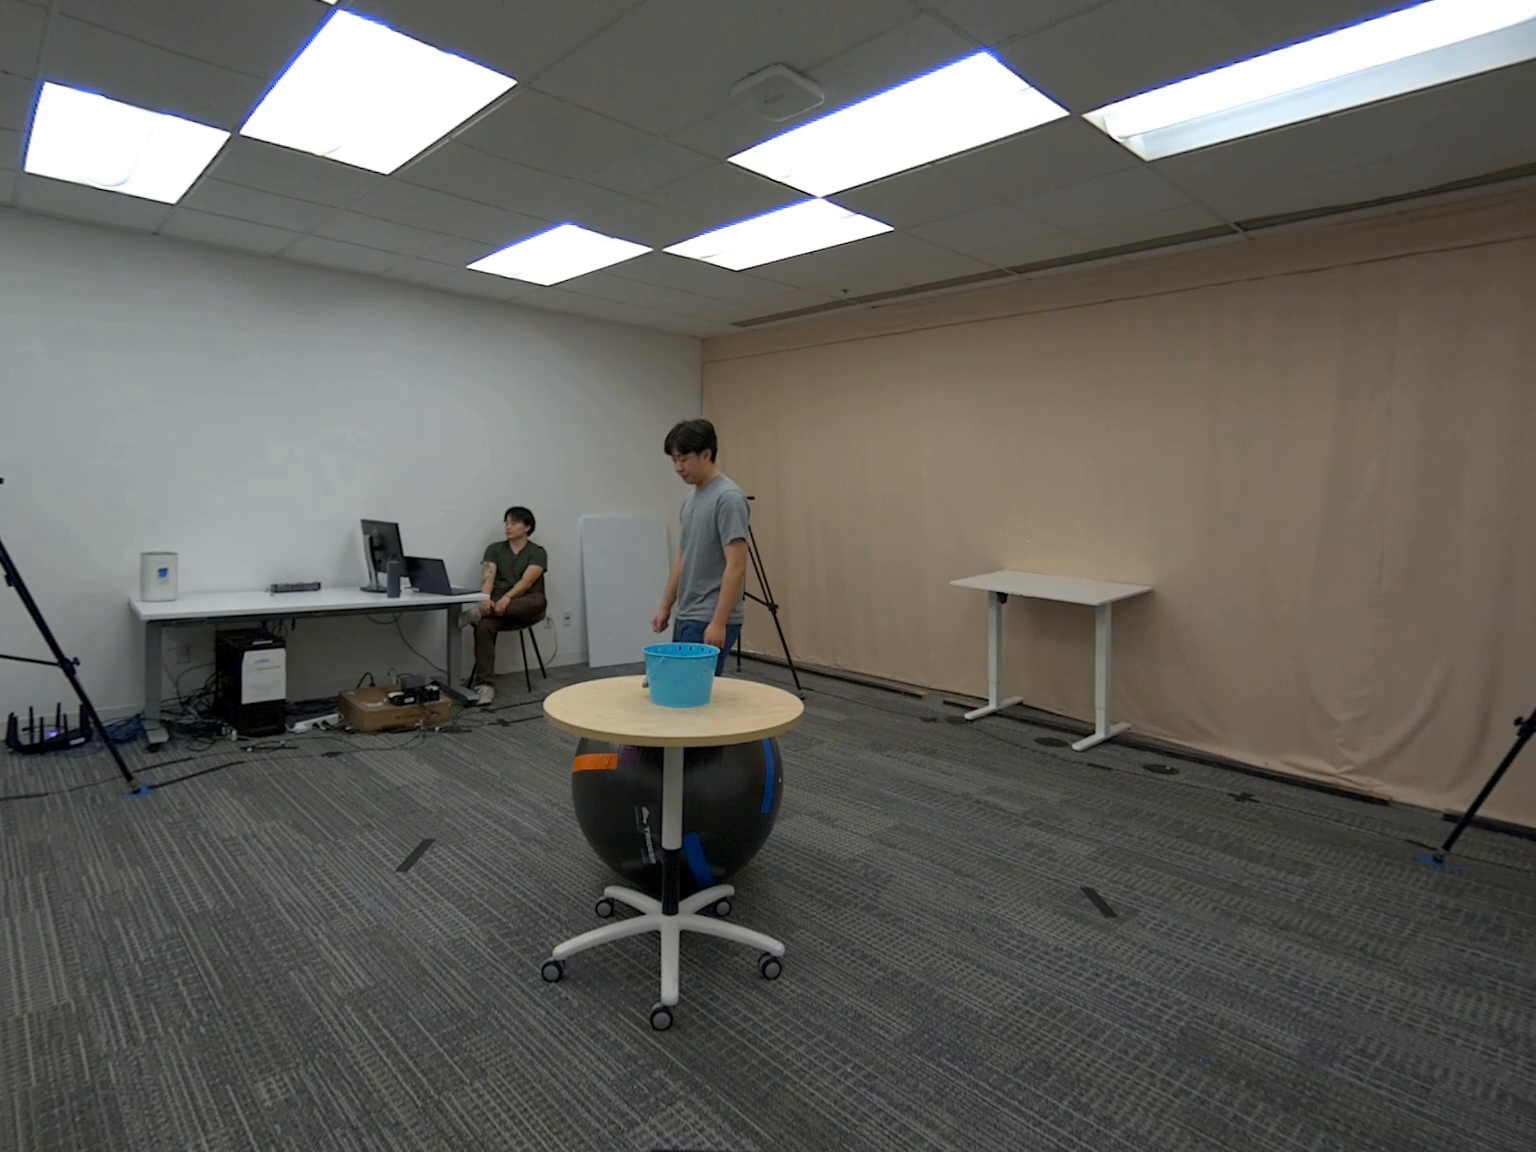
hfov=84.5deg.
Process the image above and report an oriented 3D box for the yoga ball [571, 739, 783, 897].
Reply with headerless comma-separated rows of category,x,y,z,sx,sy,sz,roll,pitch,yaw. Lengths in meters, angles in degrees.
yoga ball,-0.336,0.732,3.033,0.757,0.756,0.761,1,4,-1
